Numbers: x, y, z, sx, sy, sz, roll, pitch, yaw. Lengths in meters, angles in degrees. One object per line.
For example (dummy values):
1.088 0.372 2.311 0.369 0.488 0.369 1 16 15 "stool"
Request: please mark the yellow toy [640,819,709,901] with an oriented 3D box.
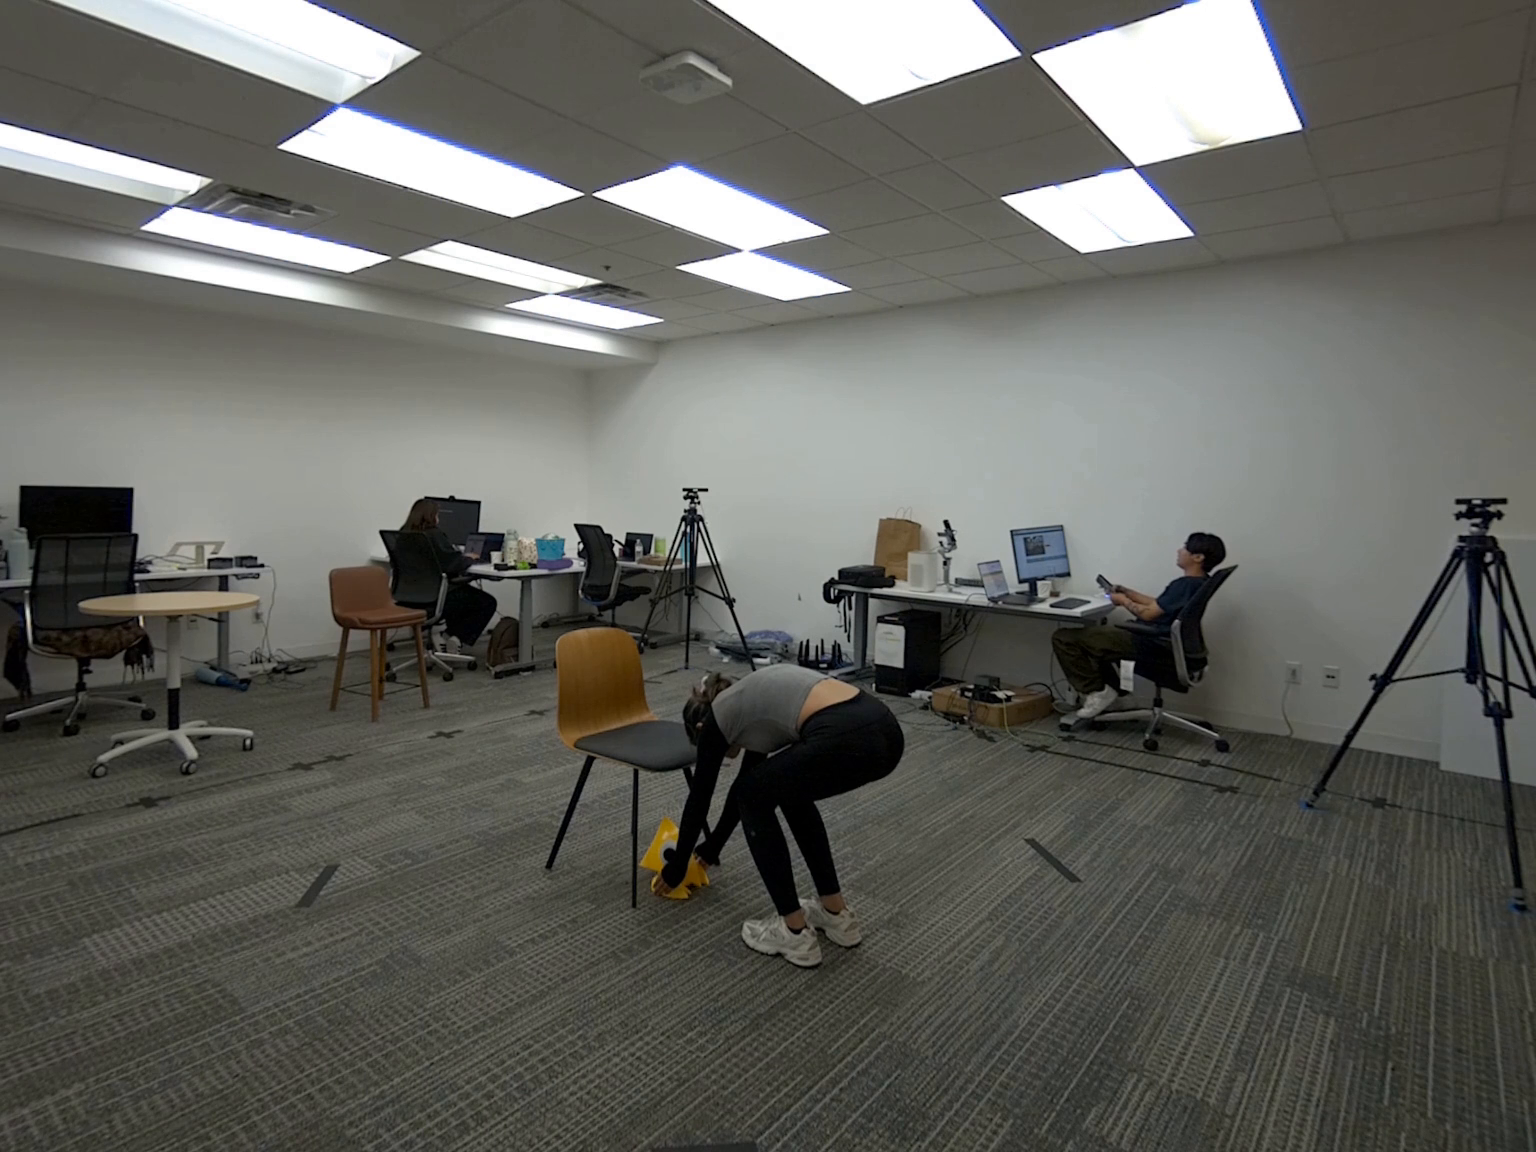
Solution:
-0.320 0.970 2.982 0.199 0.230 0.199 3 3 33 "yellow toy"
